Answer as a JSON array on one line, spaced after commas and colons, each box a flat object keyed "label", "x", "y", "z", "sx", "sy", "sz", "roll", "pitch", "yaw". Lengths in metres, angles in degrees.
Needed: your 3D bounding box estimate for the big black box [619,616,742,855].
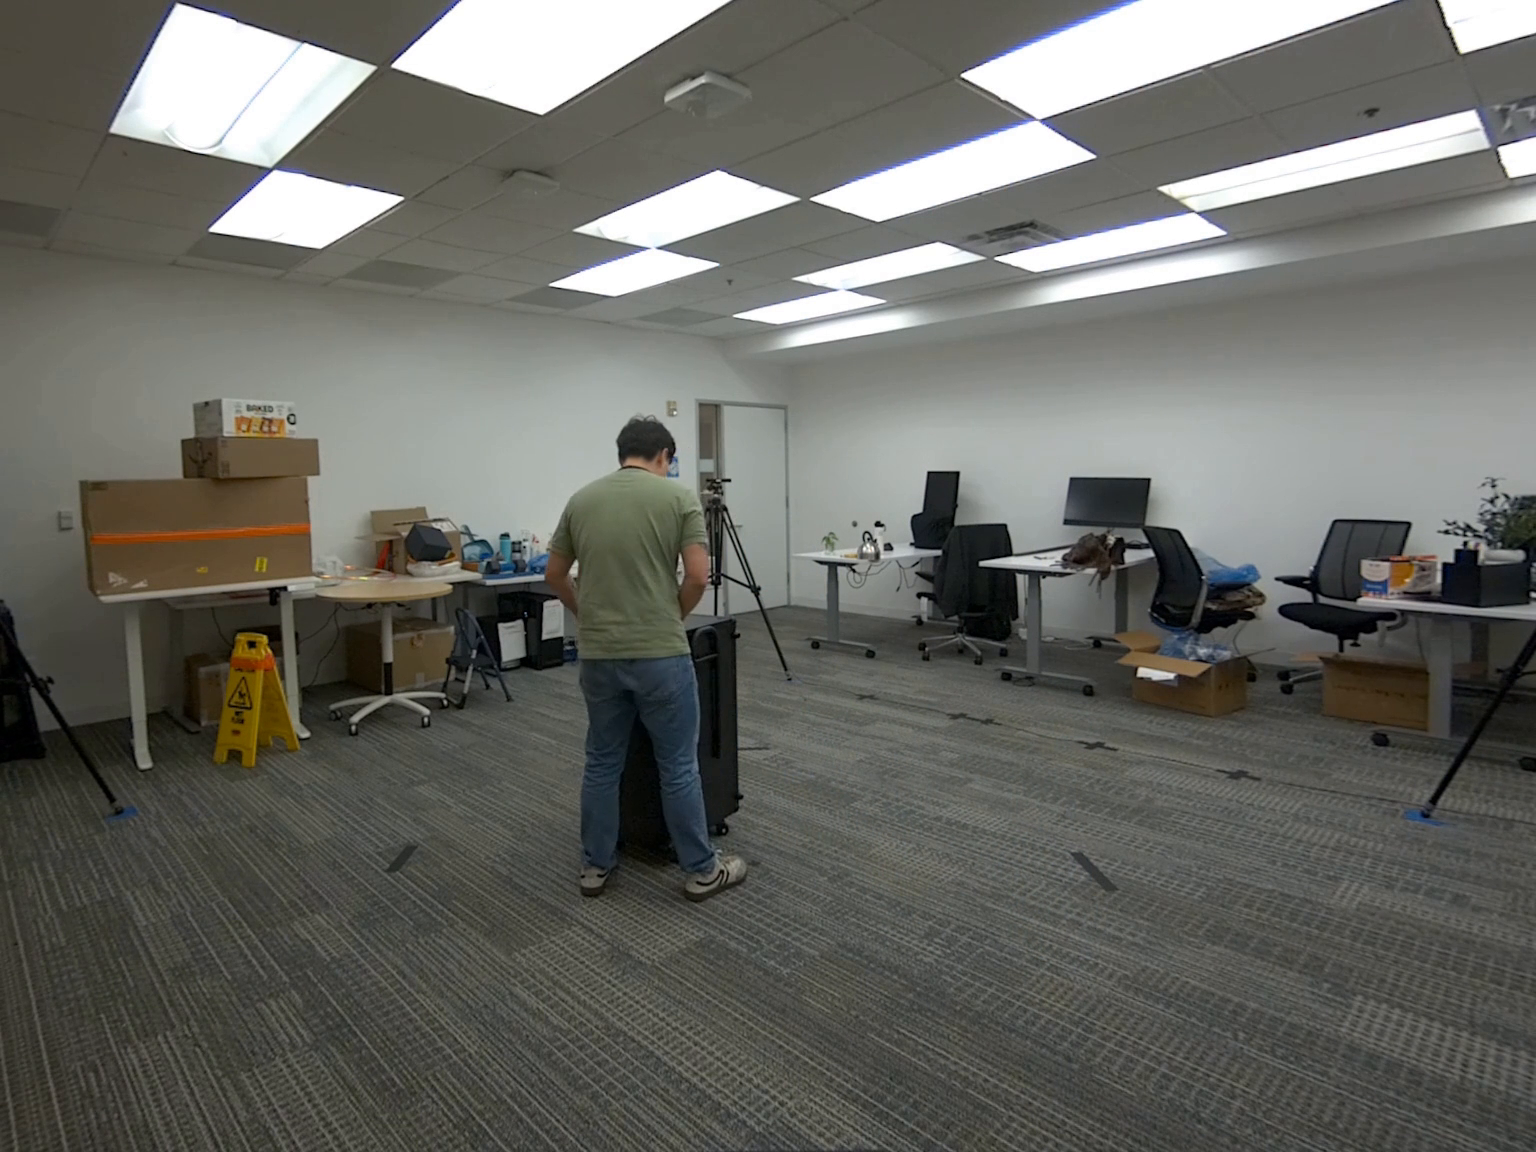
[{"label": "big black box", "x": -0.379, "y": 0.602, "z": 3.301, "sx": 0.407, "sy": 0.858, "sz": 0.509, "roll": 2, "pitch": 5, "yaw": 31}]
